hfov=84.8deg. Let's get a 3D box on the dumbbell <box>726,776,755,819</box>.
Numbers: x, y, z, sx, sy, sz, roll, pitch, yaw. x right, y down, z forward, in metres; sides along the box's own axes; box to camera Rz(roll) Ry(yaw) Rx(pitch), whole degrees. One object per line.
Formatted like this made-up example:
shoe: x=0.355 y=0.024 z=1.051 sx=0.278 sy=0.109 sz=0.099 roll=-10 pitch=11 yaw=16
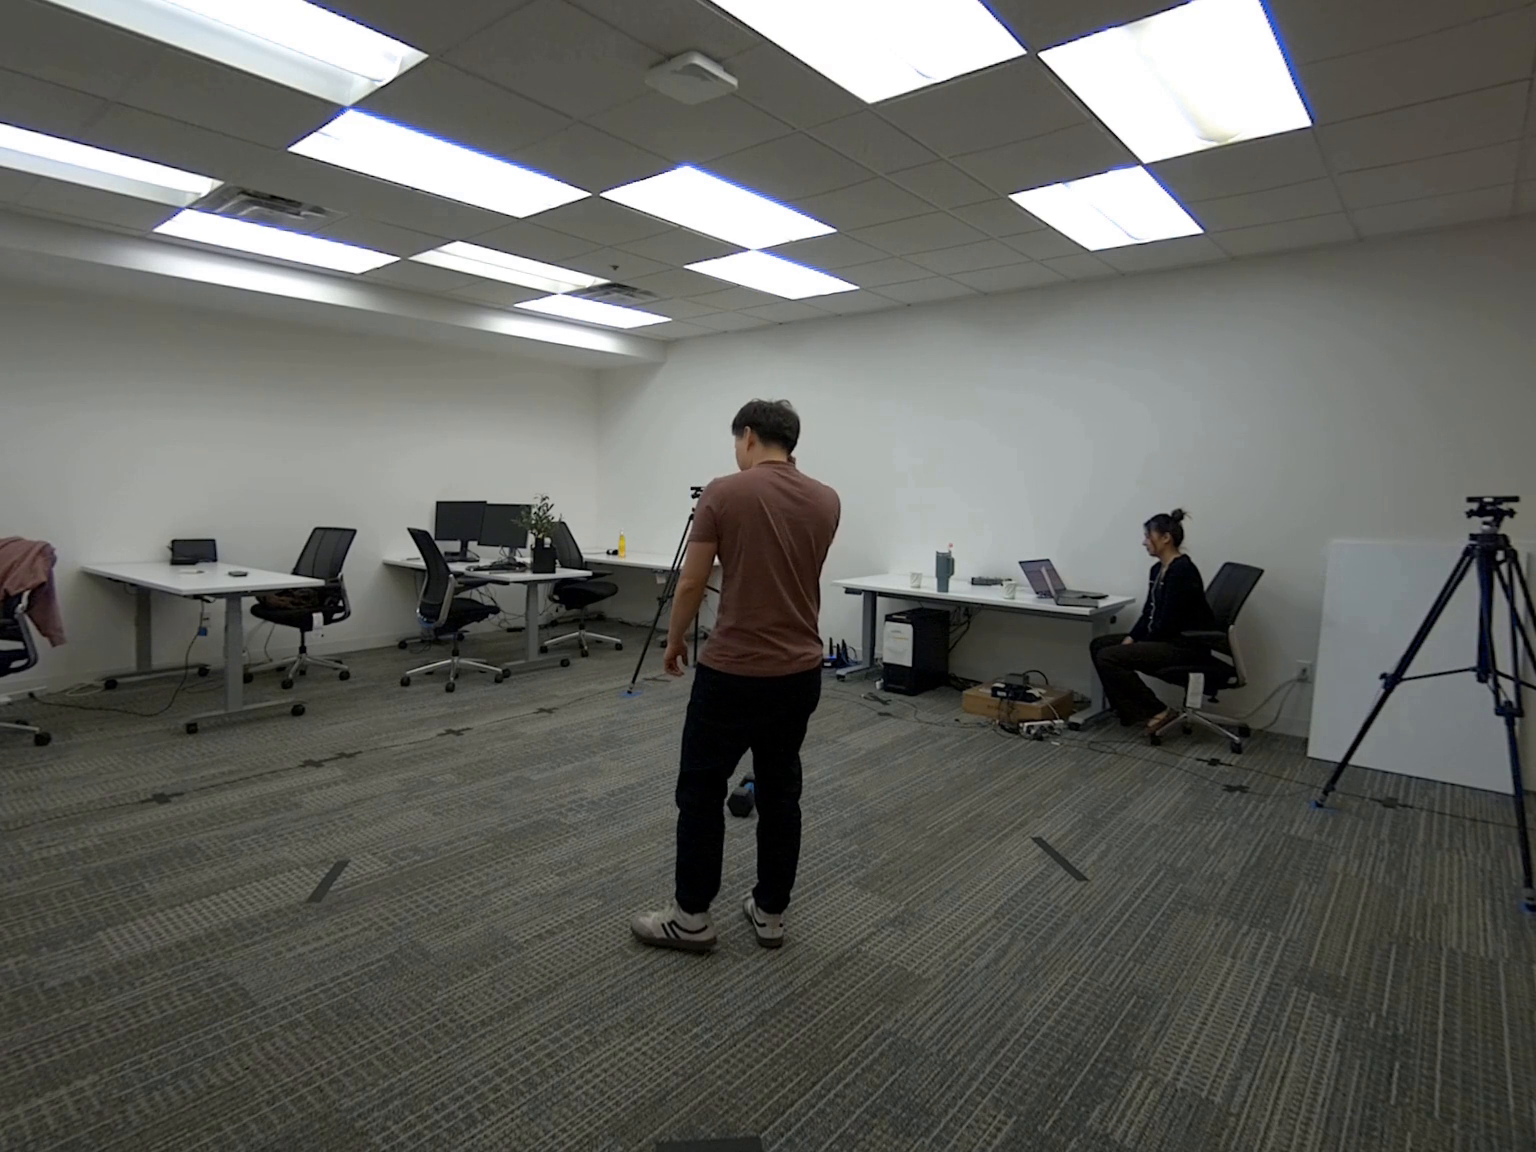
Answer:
dumbbell: x=-0.105 y=0.952 z=3.732 sx=0.110 sy=0.122 sz=0.290 roll=32 pitch=11 yaw=8
